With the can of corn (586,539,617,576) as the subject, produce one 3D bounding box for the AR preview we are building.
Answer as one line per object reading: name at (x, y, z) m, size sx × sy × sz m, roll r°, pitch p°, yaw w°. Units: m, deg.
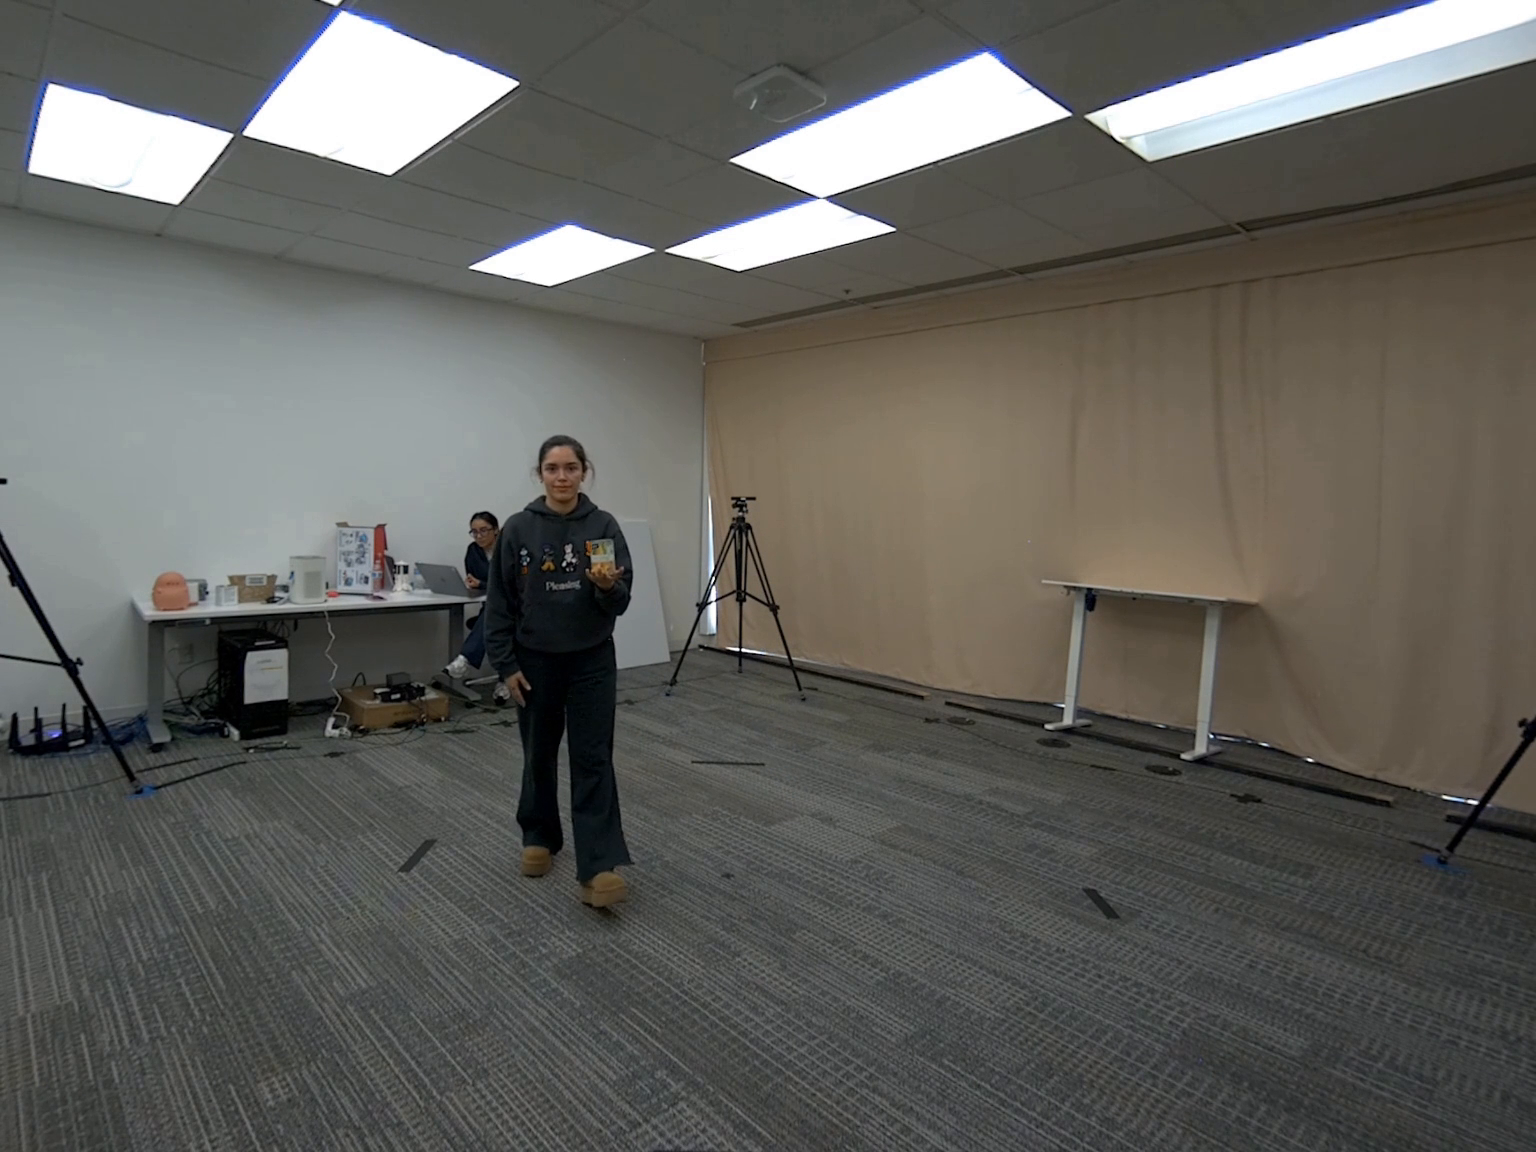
can of corn at (-0.532, -0.059, 2.692) m, size 0.074 × 0.111 × 0.074 m, roll -2°, pitch 3°, yaw -1°
